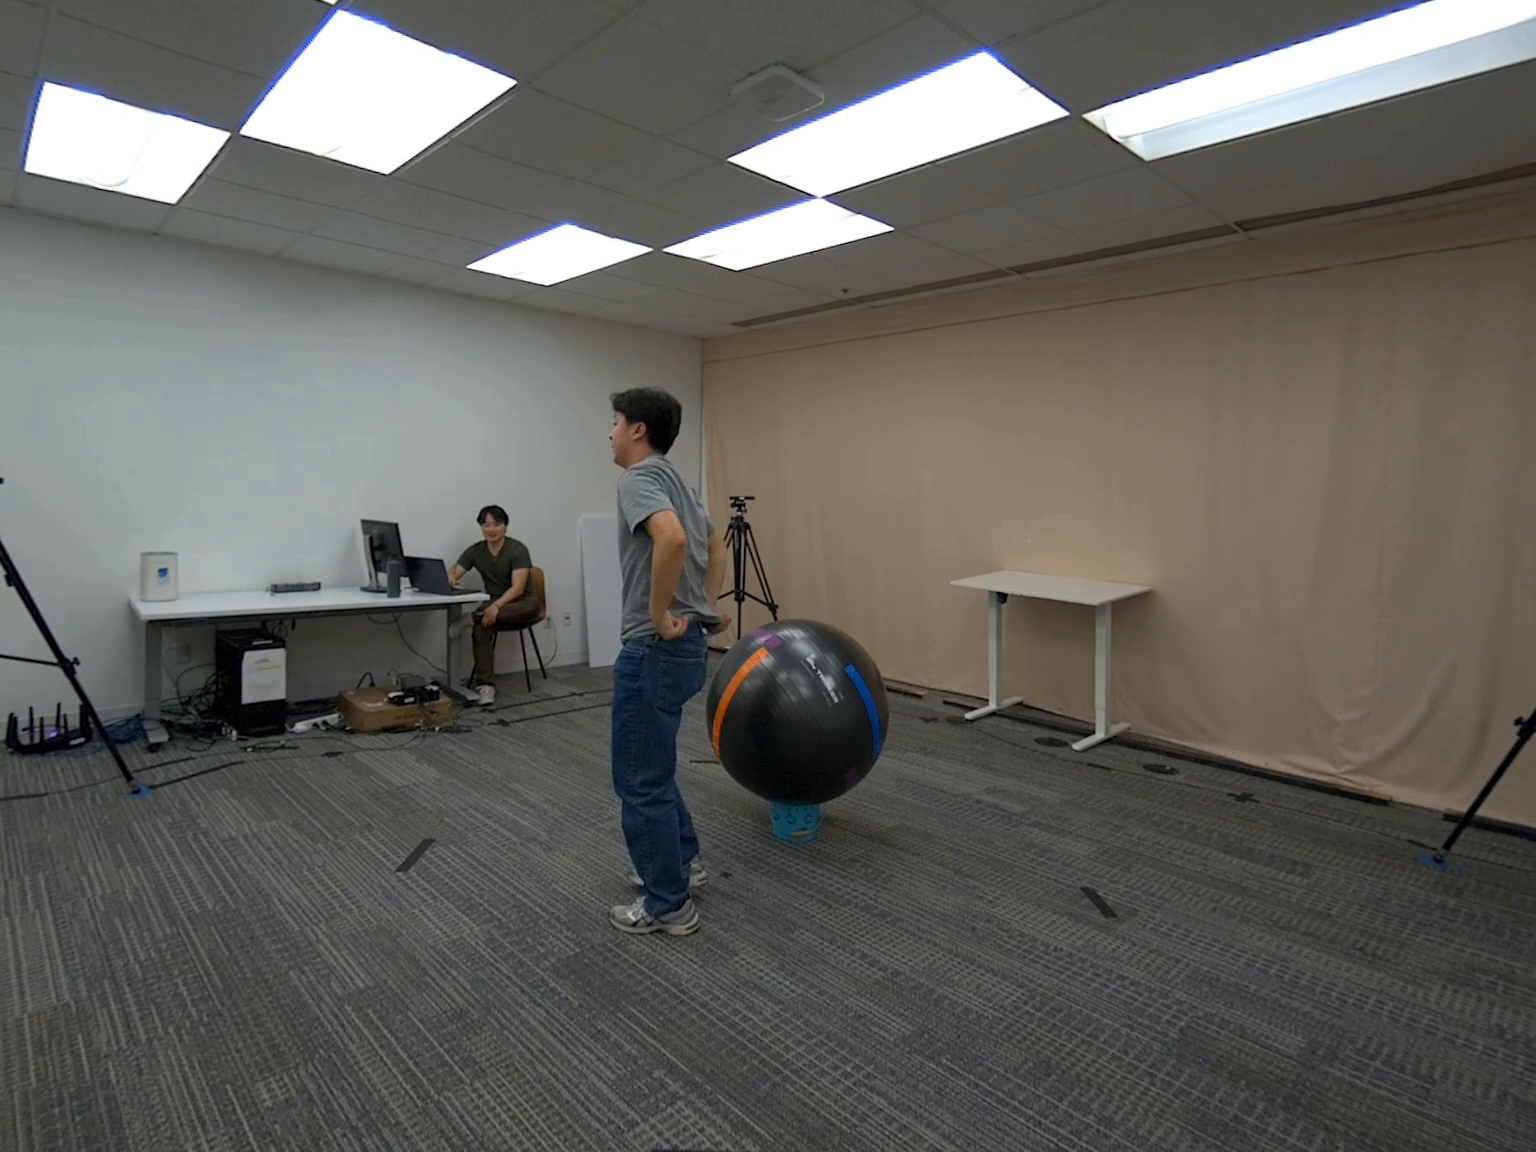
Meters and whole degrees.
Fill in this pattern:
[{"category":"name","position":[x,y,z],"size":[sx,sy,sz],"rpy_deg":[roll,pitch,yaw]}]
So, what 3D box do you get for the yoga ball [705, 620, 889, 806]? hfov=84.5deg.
[{"category":"yoga ball","position":[0.109,0.560,3.510],"size":[0.757,0.756,0.761],"rpy_deg":[1,4,-1]}]
